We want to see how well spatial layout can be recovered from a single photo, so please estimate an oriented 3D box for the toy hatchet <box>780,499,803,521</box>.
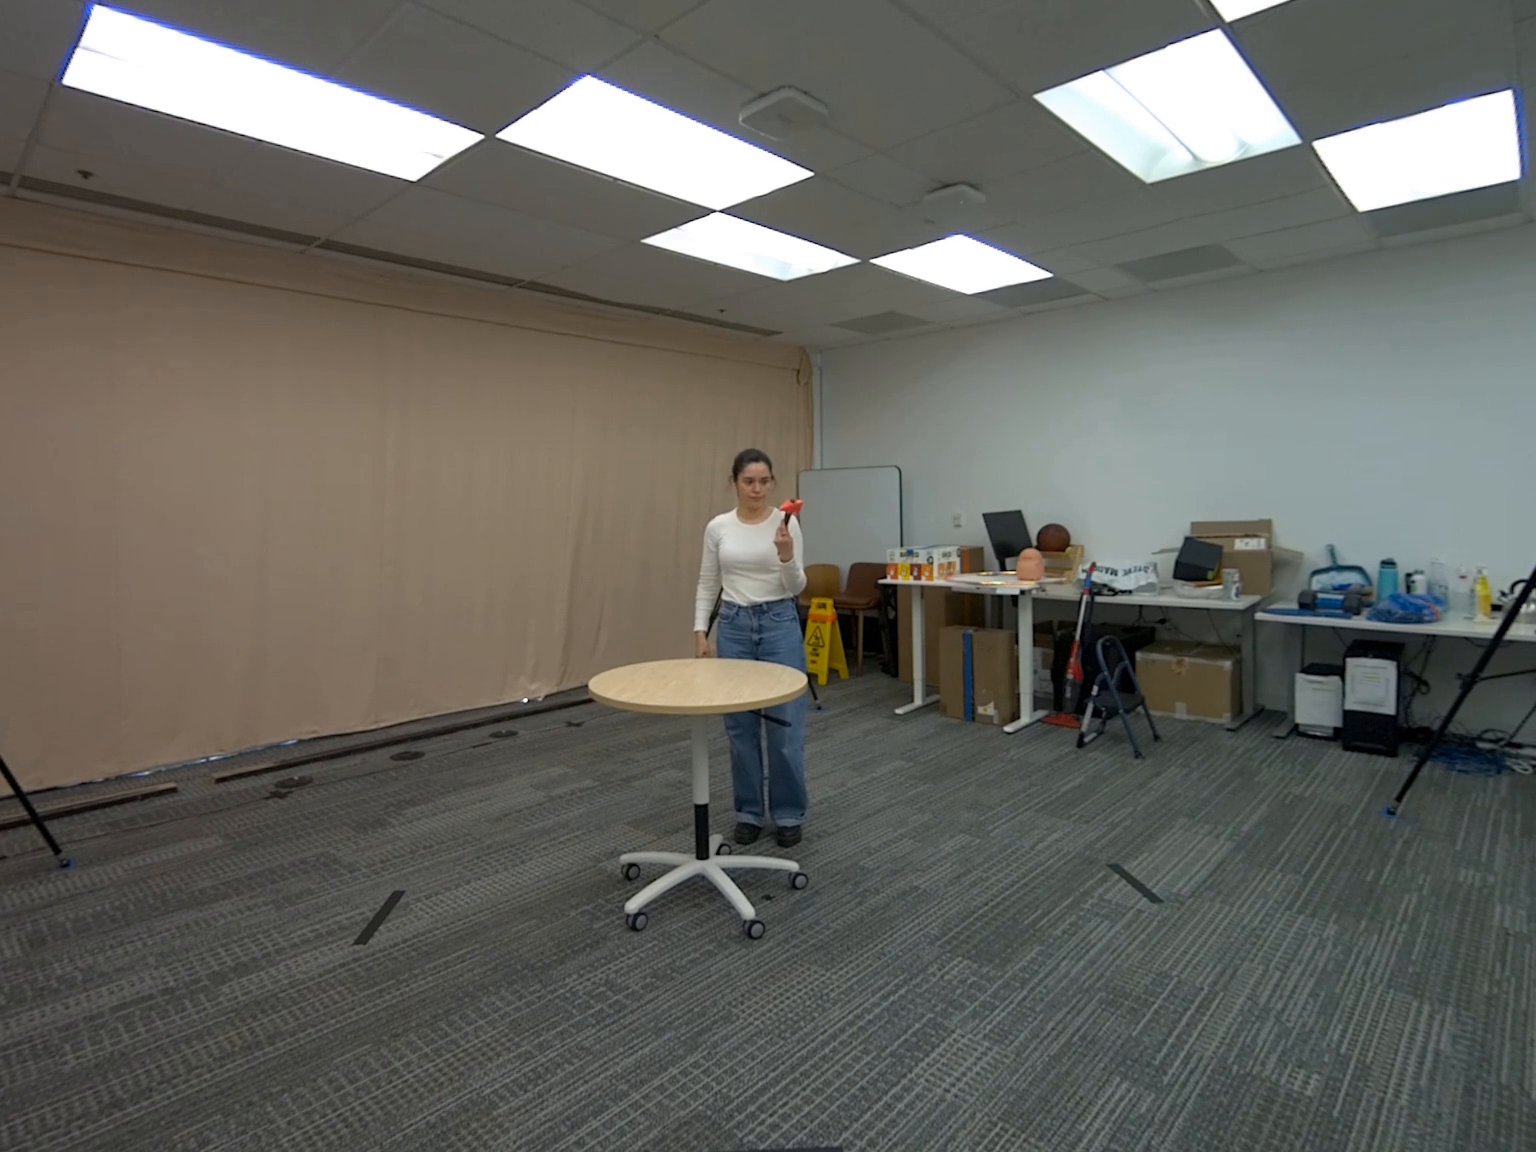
[{"bbox_3d":[0.086,-0.195,3.257,0.129,0.265,0.030,-36,58,-29],"label":"toy hatchet"}]
